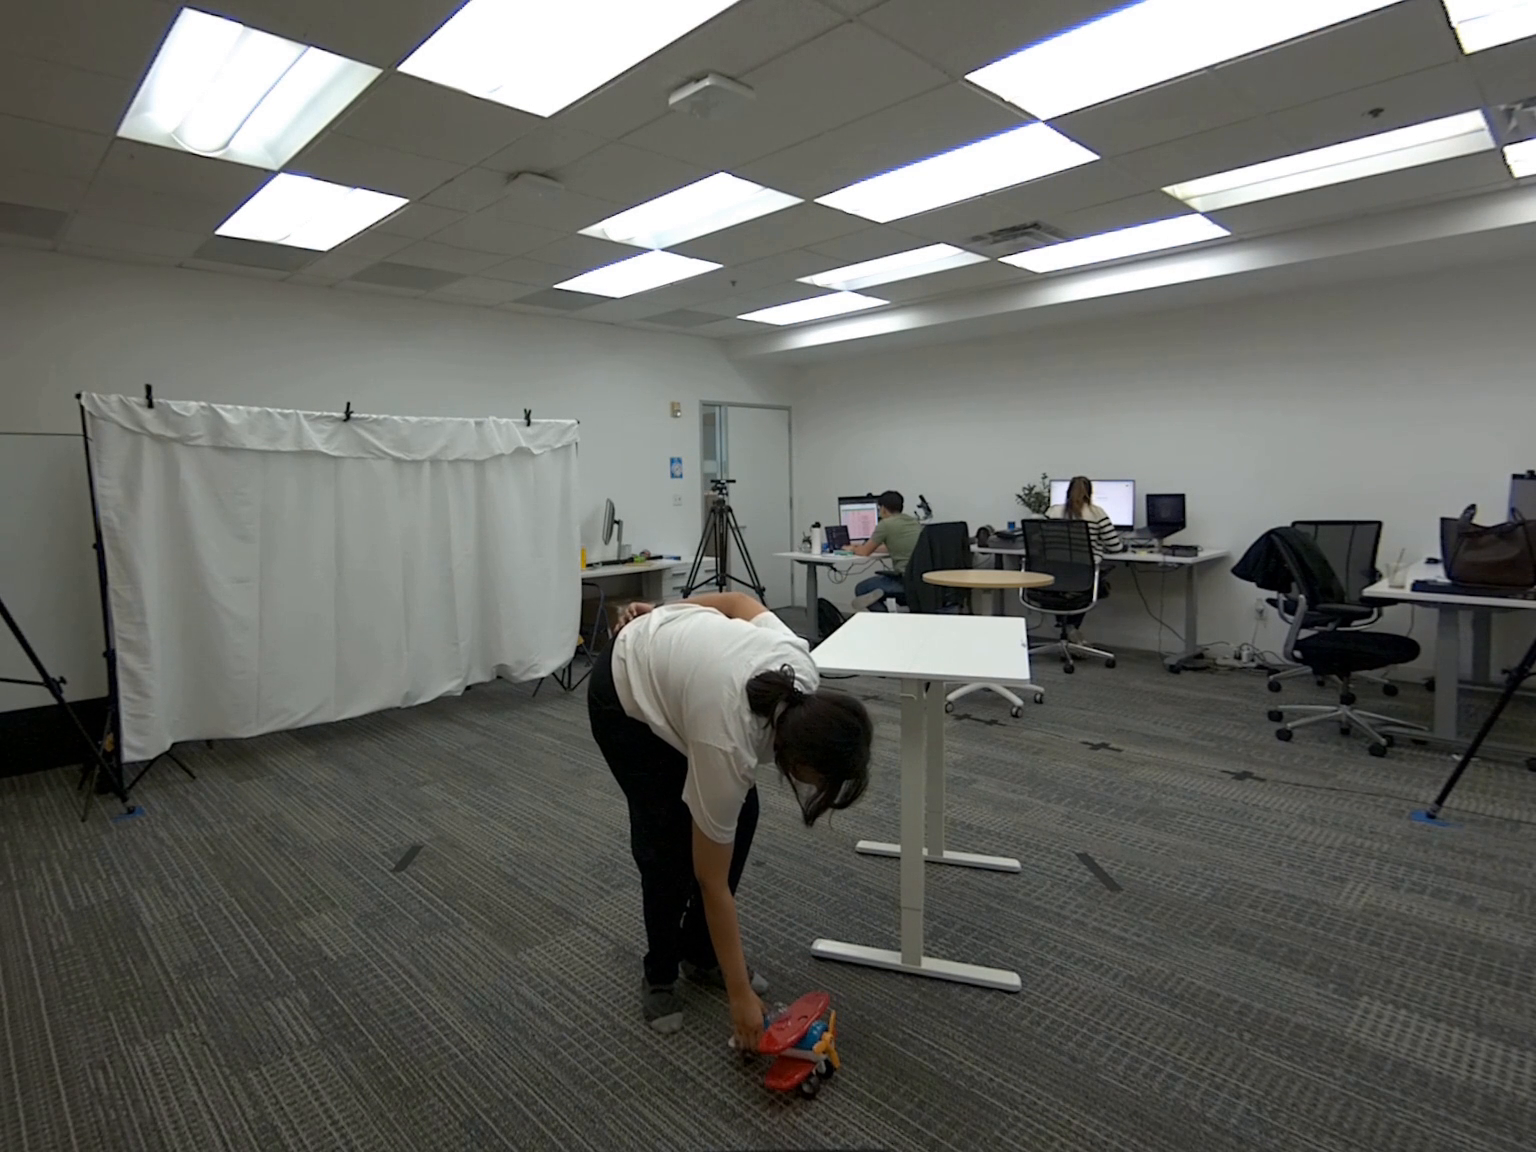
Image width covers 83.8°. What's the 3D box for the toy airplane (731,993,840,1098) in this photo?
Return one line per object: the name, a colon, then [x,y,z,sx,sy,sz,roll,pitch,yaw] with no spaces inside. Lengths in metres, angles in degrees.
toy airplane: [0.045,1.107,1.986,0.261,0.155,0.250,1,7,7]
